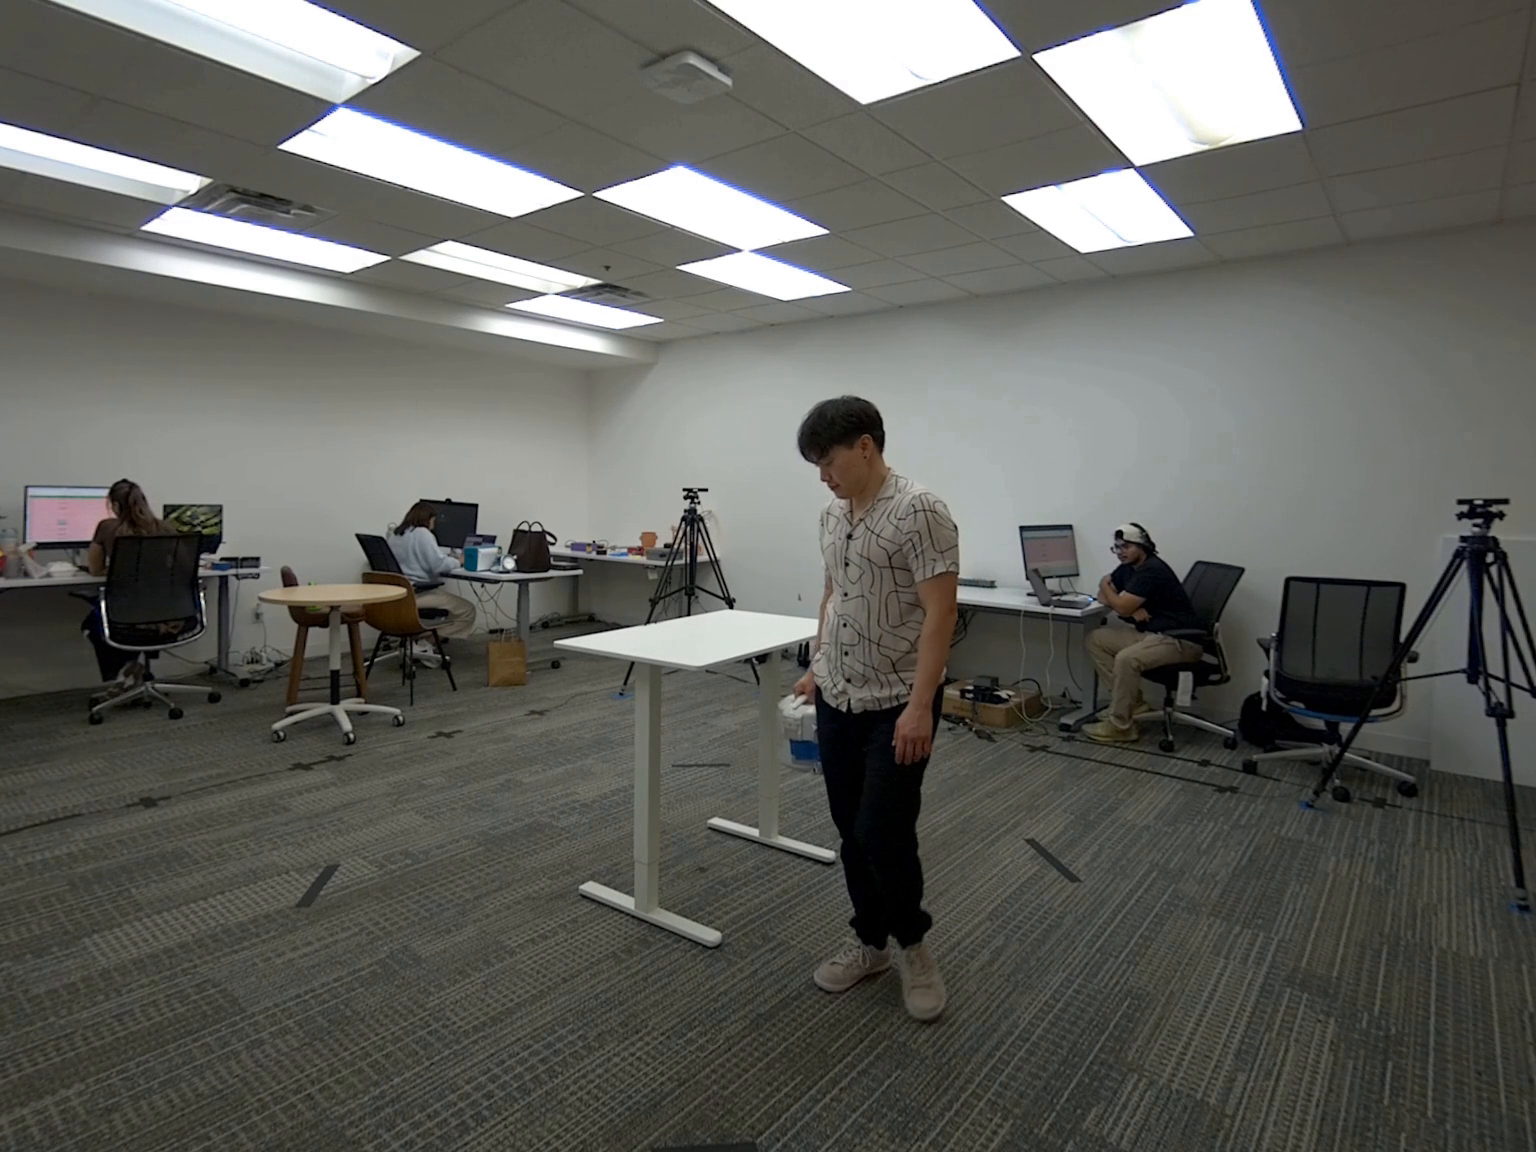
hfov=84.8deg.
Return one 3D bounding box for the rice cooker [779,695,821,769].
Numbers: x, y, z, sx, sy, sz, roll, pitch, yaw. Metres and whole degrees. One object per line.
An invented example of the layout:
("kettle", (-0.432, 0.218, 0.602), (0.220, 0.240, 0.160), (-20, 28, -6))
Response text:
("rice cooker", (0.128, 0.473, 2.655), (0.225, 0.232, 0.214), (5, 7, 37))
